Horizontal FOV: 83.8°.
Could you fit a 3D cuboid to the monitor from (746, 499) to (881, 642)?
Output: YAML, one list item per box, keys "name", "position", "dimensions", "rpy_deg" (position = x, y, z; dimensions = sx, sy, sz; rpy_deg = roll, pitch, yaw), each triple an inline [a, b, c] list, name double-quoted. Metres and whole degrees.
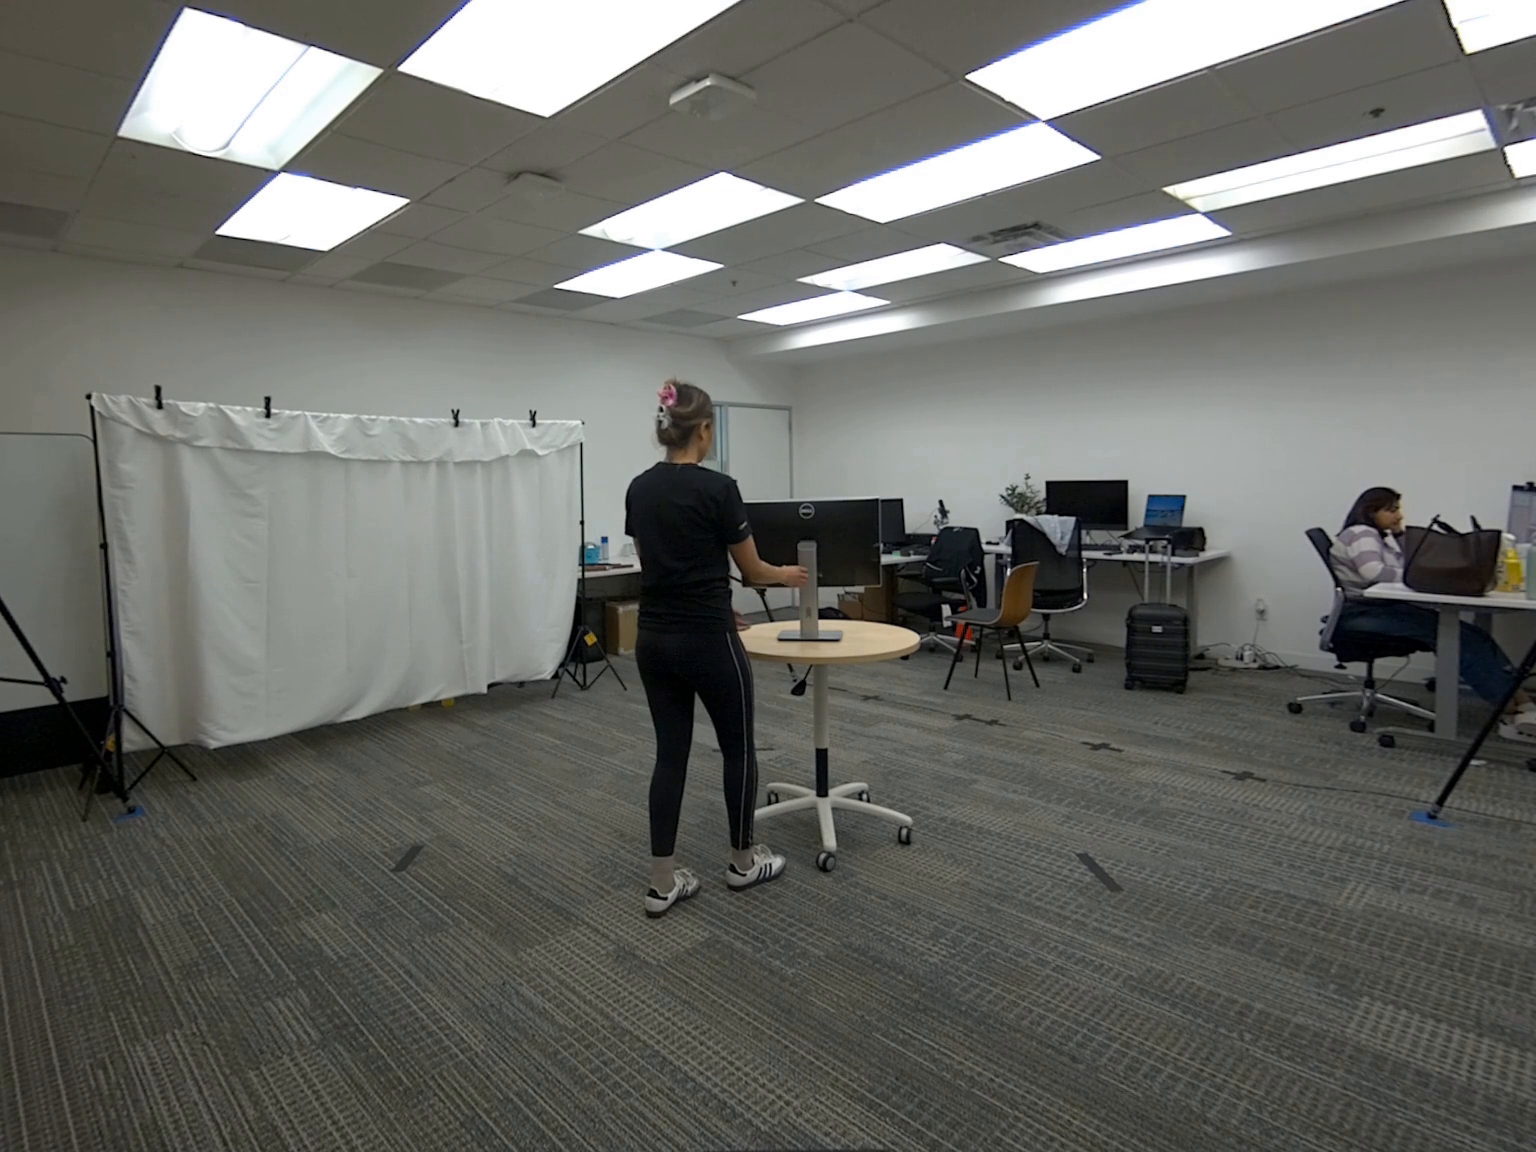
- name: "monitor"
  position: [0.157, -0.023, 3.329]
  dimensions: [0.543, 0.521, 0.186]
  rpy_deg: [-1, 3, 8]
